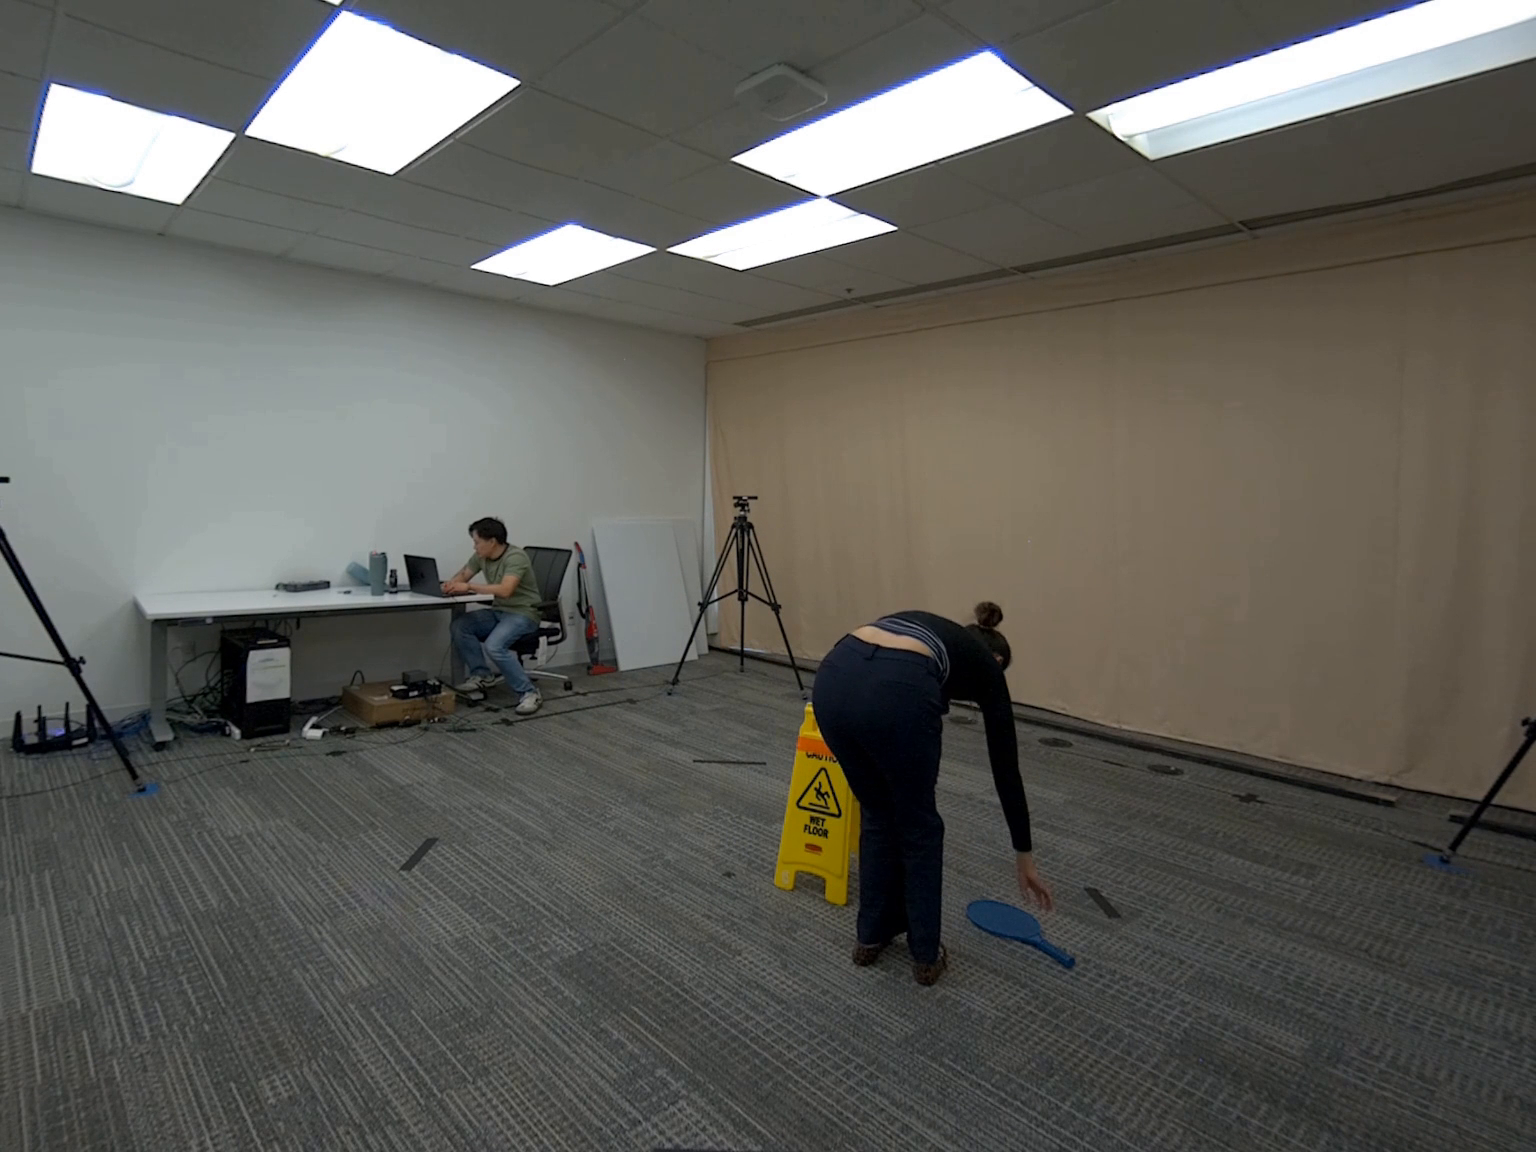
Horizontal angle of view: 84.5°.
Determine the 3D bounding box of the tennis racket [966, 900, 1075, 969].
[{"bbox_3d":[0.801,1.143,2.735,0.210,0.032,0.441,-1,4,-23],"label":"tennis racket"}]
